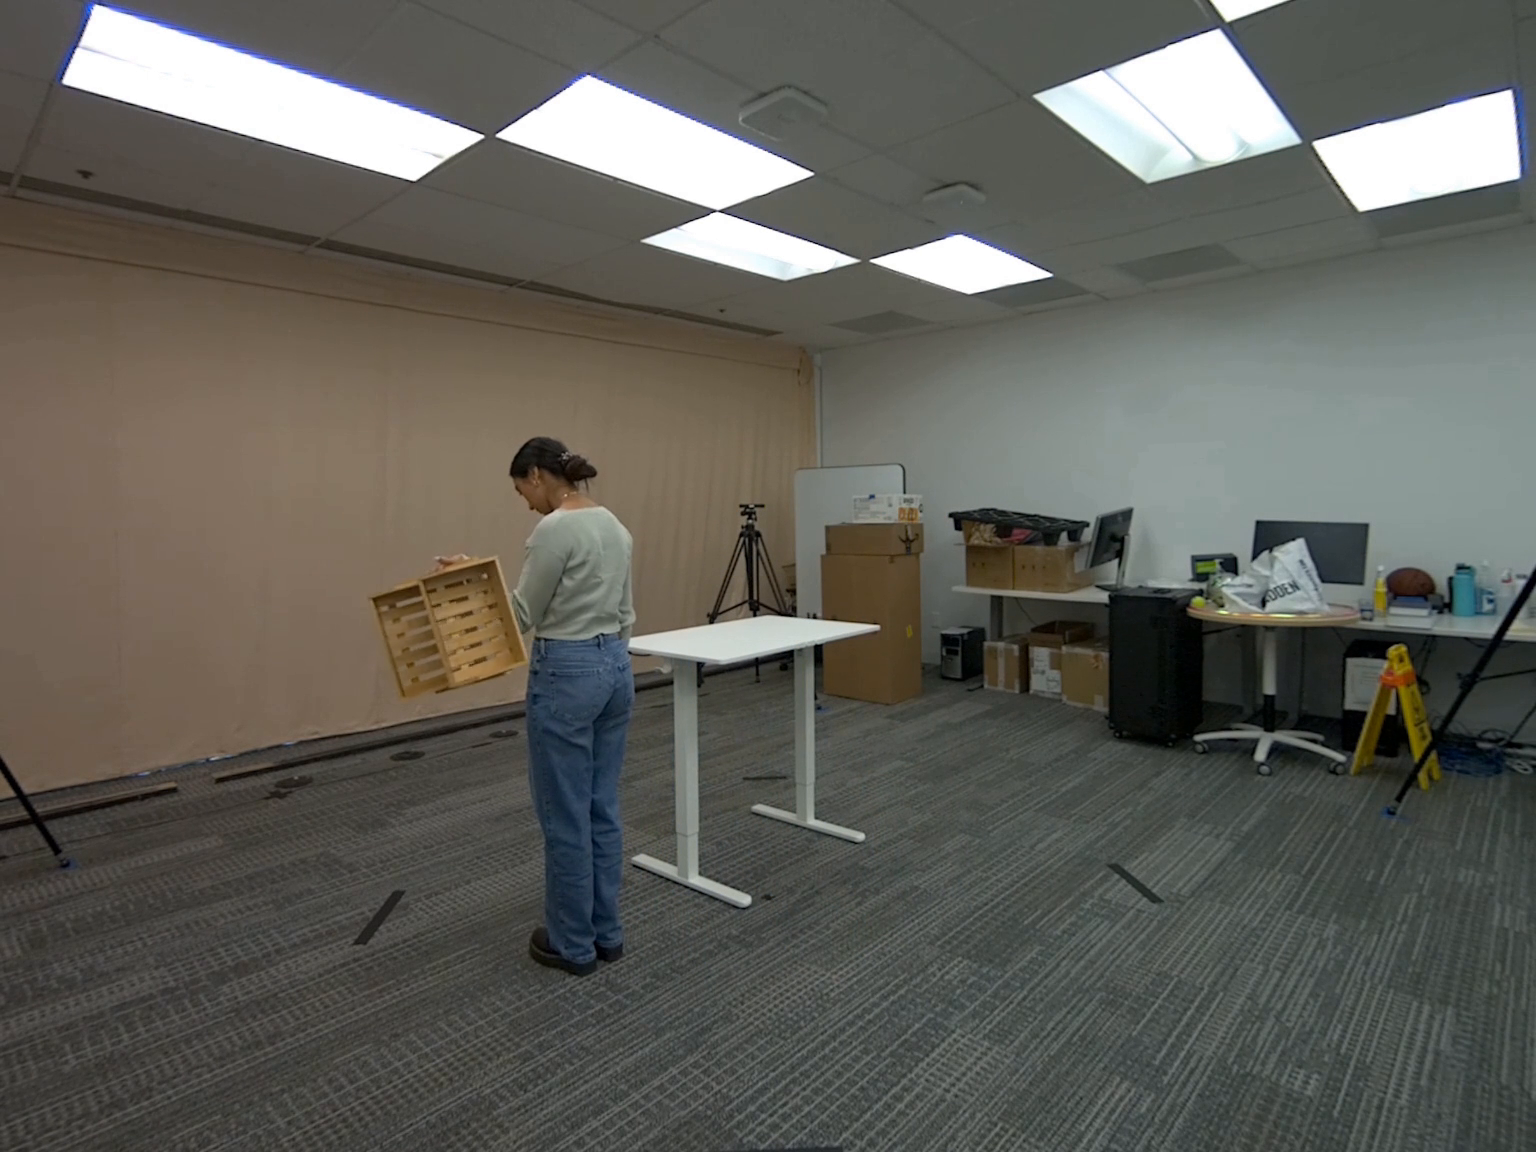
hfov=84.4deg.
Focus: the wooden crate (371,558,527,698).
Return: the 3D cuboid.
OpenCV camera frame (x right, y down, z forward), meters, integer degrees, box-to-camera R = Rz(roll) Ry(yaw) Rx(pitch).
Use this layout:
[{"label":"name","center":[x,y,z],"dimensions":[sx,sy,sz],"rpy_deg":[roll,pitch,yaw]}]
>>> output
[{"label":"wooden crate","center":[-0.874,0.141,2.275],"dimensions":[0.295,0.324,0.280],"rpy_deg":[-18,1,-38]}]
